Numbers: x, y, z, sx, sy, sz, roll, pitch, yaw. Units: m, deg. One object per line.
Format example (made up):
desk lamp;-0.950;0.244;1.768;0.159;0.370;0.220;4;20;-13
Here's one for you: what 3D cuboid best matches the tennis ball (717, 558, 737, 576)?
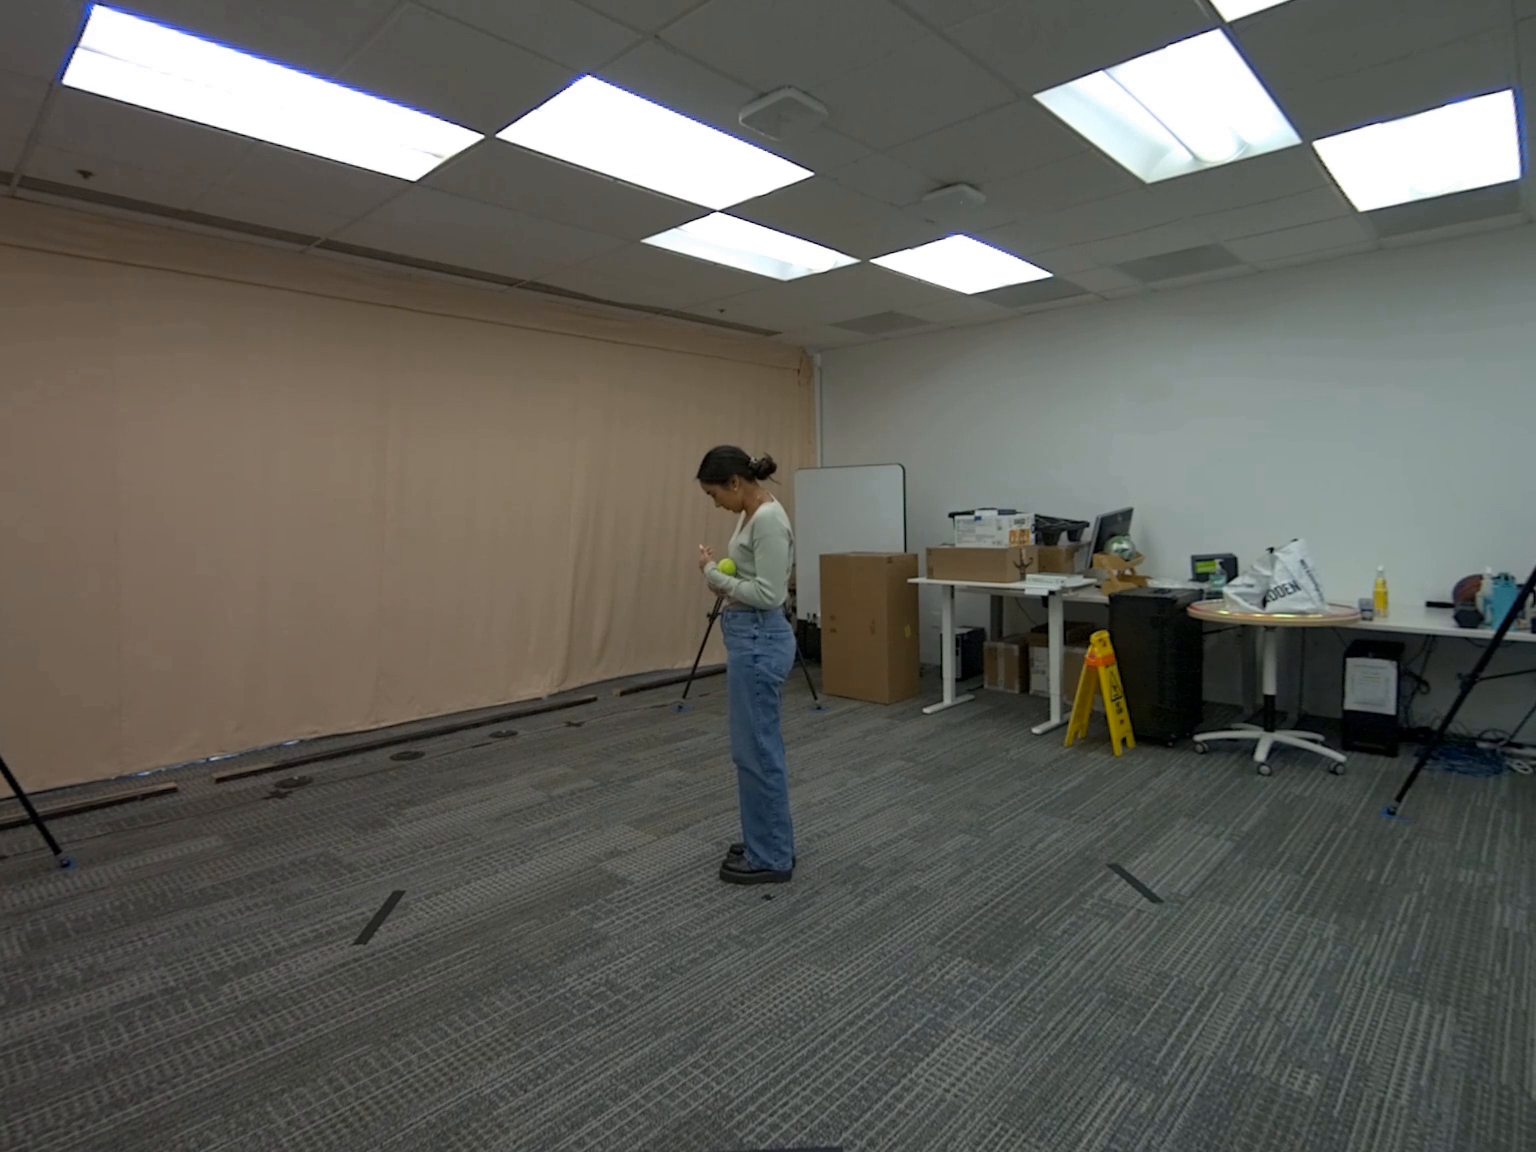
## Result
tennis ball;-0.121;0.003;3.060;0.066;0.066;0.067;-1;4;-2
